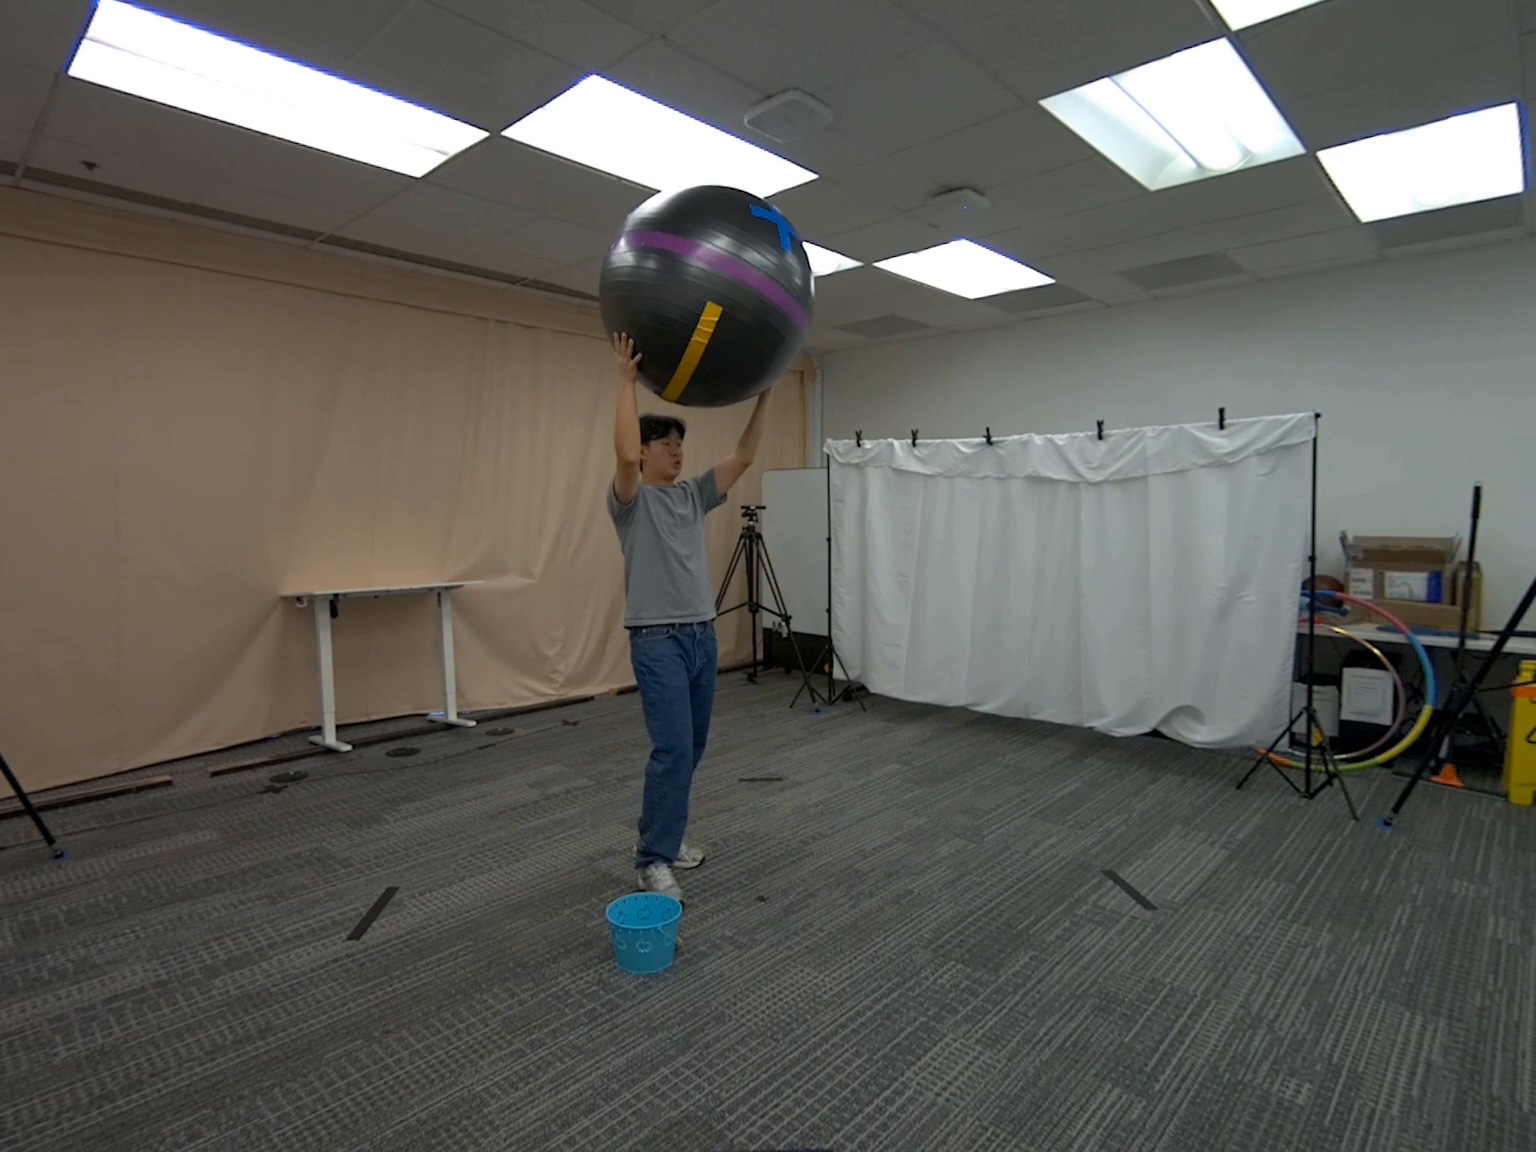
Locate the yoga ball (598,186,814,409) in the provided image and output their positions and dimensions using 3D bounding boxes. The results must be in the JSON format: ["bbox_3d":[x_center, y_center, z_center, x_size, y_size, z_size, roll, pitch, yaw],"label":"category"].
[{"bbox_3d":[-0.215,-0.973,2.973,0.757,0.756,0.761,0,4,-2],"label":"yoga ball"}]
